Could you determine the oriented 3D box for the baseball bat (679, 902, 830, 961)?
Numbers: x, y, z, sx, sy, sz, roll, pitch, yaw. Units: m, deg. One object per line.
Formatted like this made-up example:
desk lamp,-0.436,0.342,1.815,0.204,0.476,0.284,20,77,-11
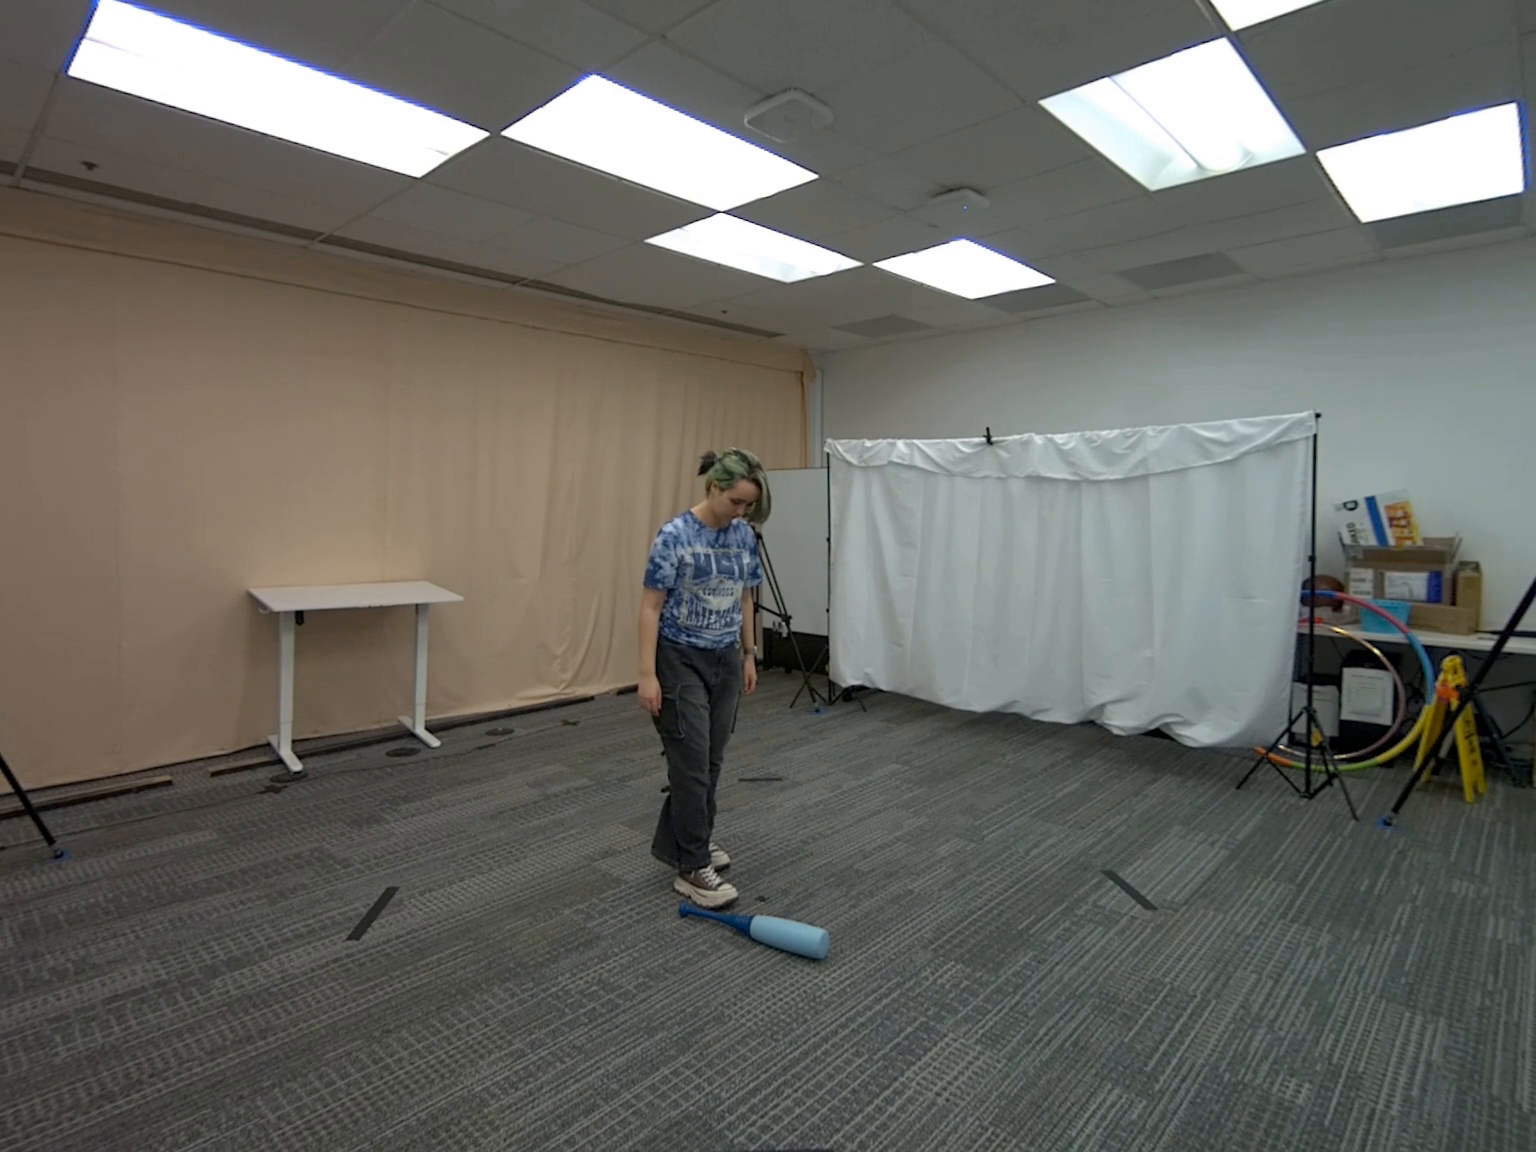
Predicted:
baseball bat,-0.058,1.131,2.715,0.559,0.089,0.086,-1,3,32
